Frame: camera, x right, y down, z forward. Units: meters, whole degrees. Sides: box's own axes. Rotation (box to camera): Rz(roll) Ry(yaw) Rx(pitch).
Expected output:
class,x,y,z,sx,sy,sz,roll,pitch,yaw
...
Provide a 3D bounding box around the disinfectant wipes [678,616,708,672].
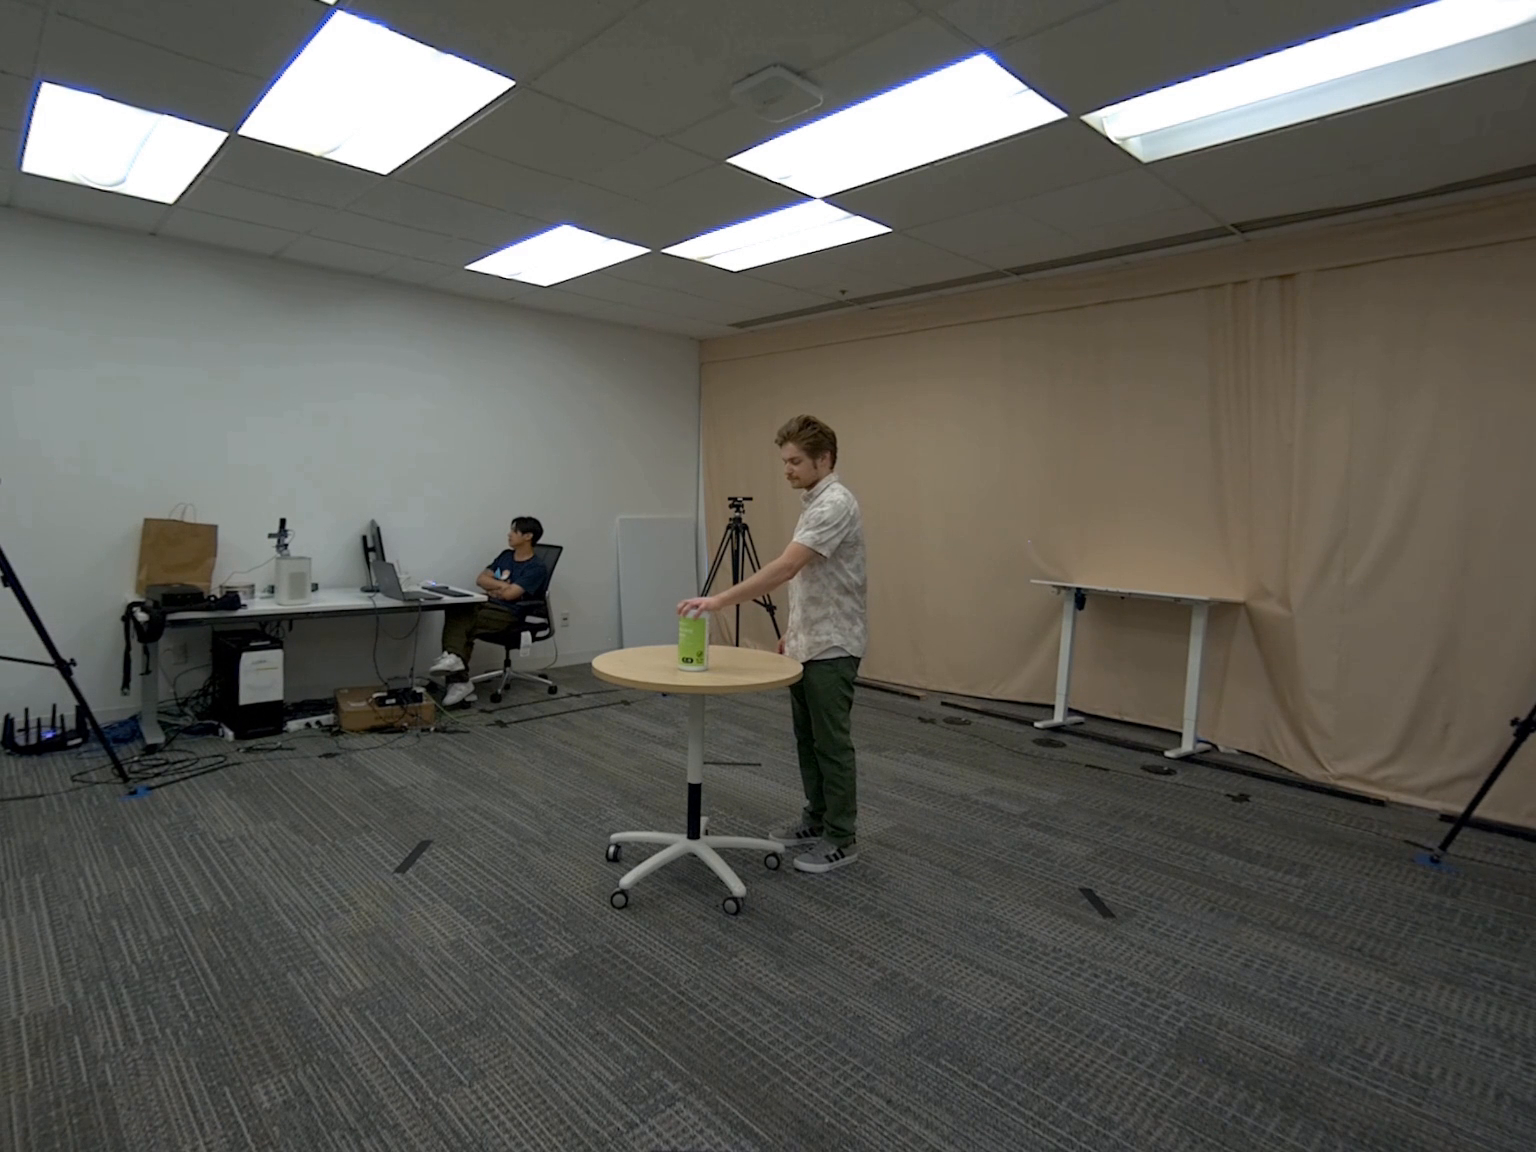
class,x,y,z,sx,sy,sz,roll,pitch,yaw
disinfectant wipes,-0.268,0.224,2.950,0.118,0.216,0.118,0,5,-1
